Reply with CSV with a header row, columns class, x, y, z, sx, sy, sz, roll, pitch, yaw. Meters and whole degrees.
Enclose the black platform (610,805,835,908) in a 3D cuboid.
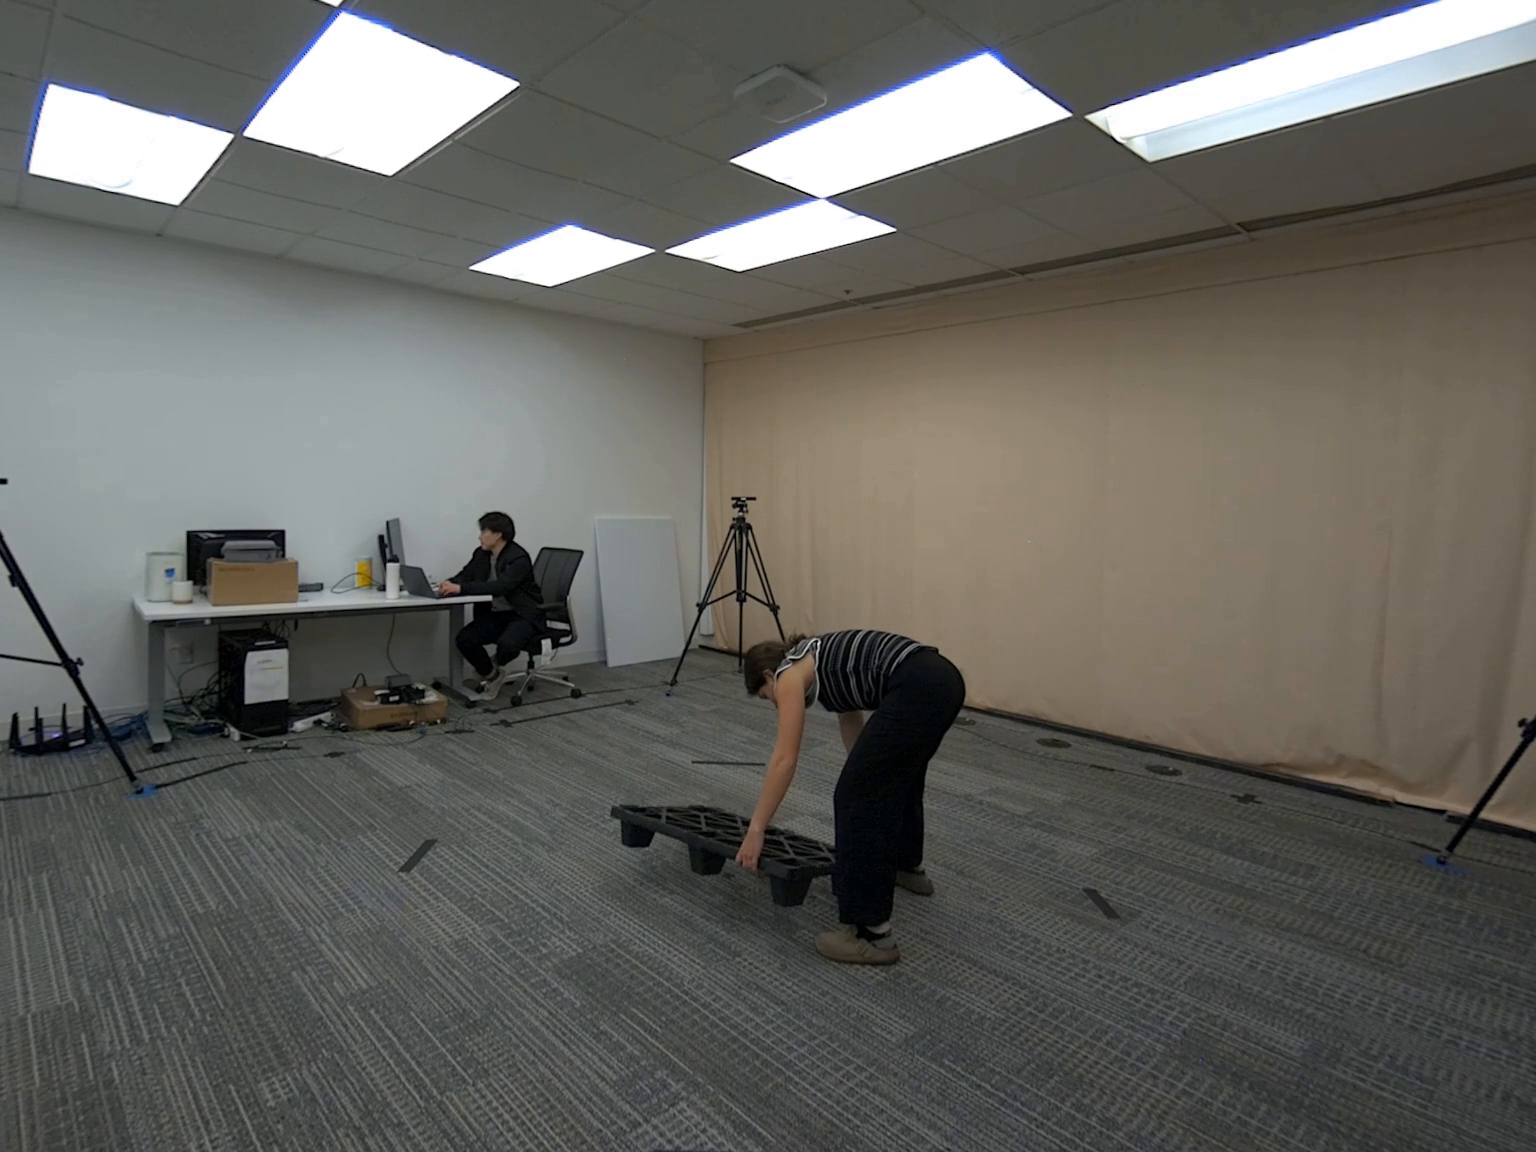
class,x,y,z,sx,sy,sz,roll,pitch,yaw
black platform,-0.107,0.991,3.019,0.825,0.144,0.587,5,-9,38
